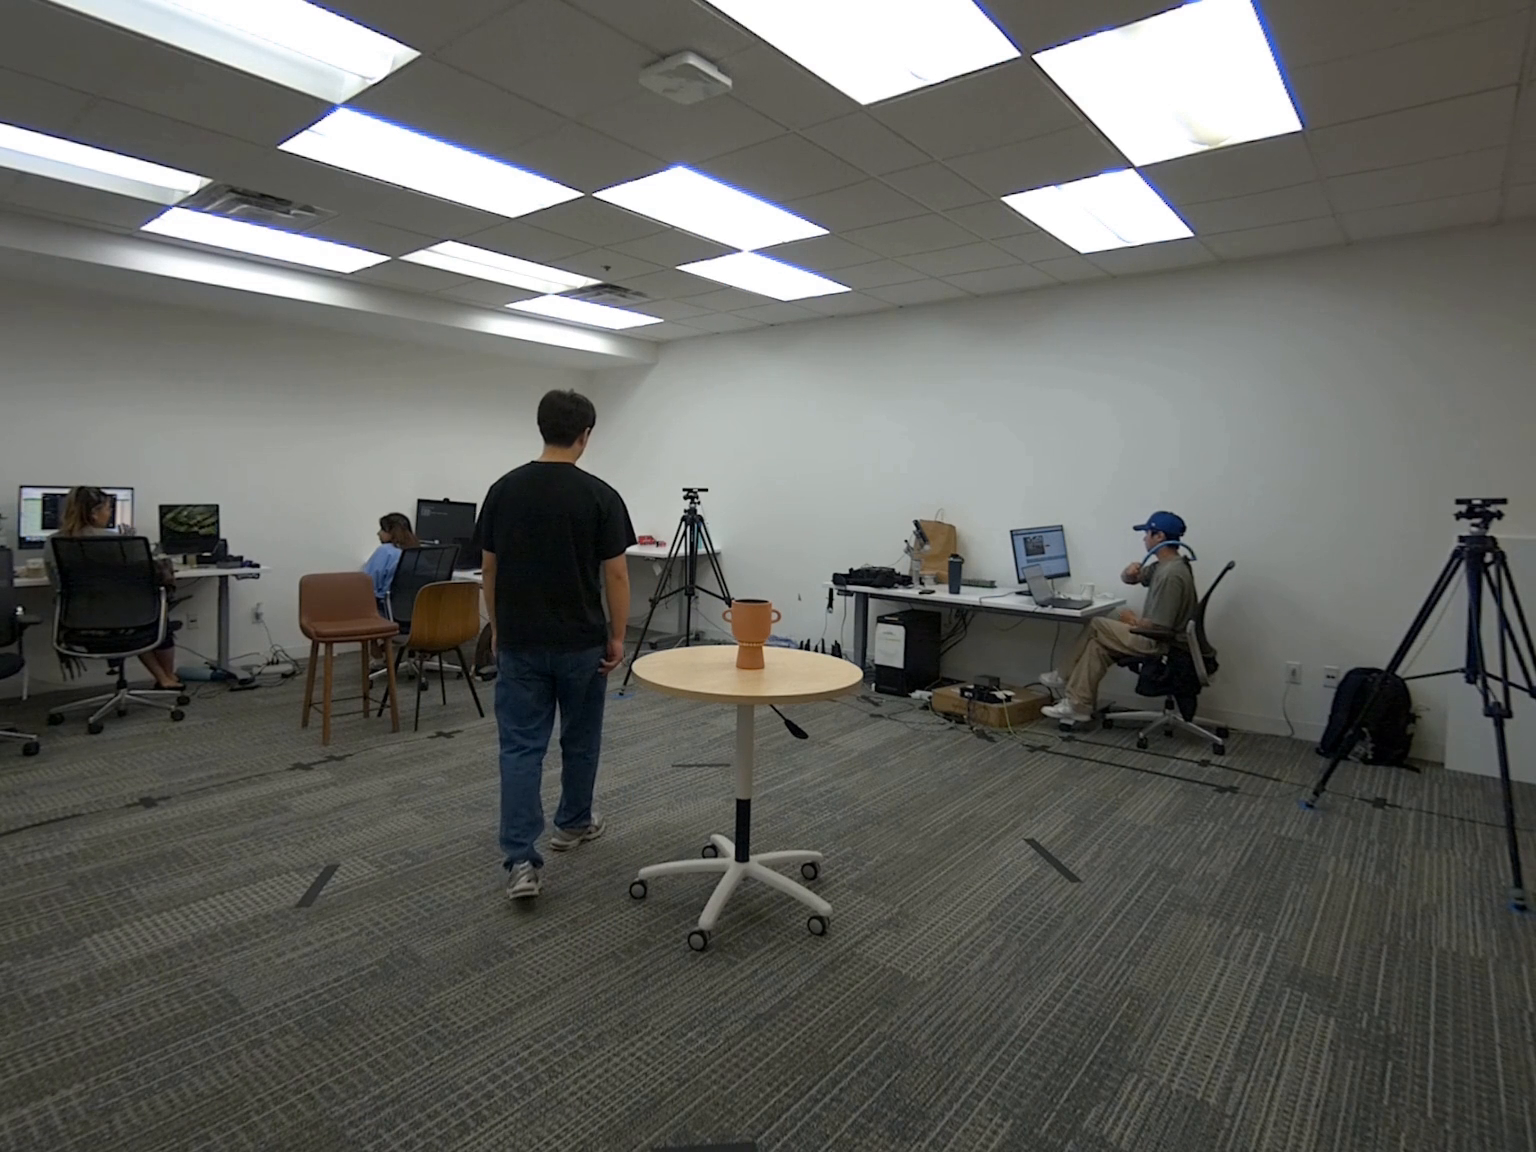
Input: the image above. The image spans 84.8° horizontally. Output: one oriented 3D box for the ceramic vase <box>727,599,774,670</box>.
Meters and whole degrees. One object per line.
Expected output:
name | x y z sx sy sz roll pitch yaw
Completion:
ceramic vase | -0.062 0.191 2.846 0.164 0.219 0.131 4 5 31
